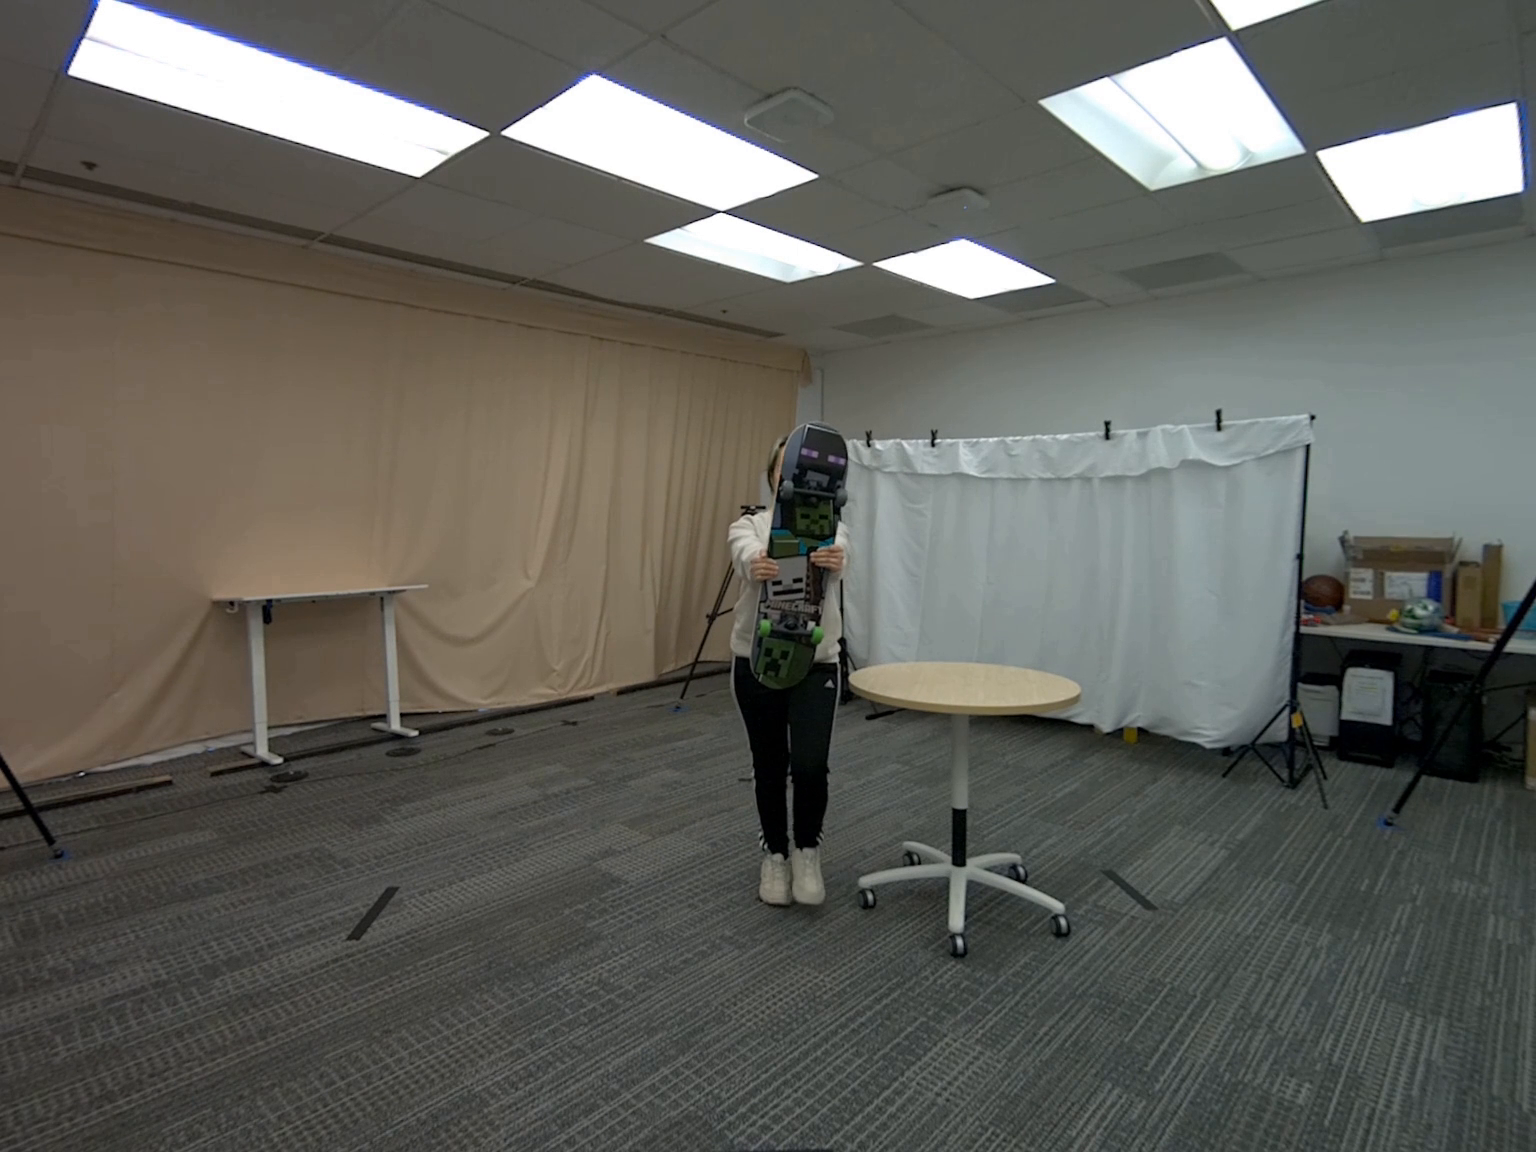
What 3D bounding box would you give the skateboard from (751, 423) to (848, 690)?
[{"bbox_3d":[0.097,-0.037,2.392,0.192,0.782,0.112,8,9,-7],"label":"skateboard"}]
